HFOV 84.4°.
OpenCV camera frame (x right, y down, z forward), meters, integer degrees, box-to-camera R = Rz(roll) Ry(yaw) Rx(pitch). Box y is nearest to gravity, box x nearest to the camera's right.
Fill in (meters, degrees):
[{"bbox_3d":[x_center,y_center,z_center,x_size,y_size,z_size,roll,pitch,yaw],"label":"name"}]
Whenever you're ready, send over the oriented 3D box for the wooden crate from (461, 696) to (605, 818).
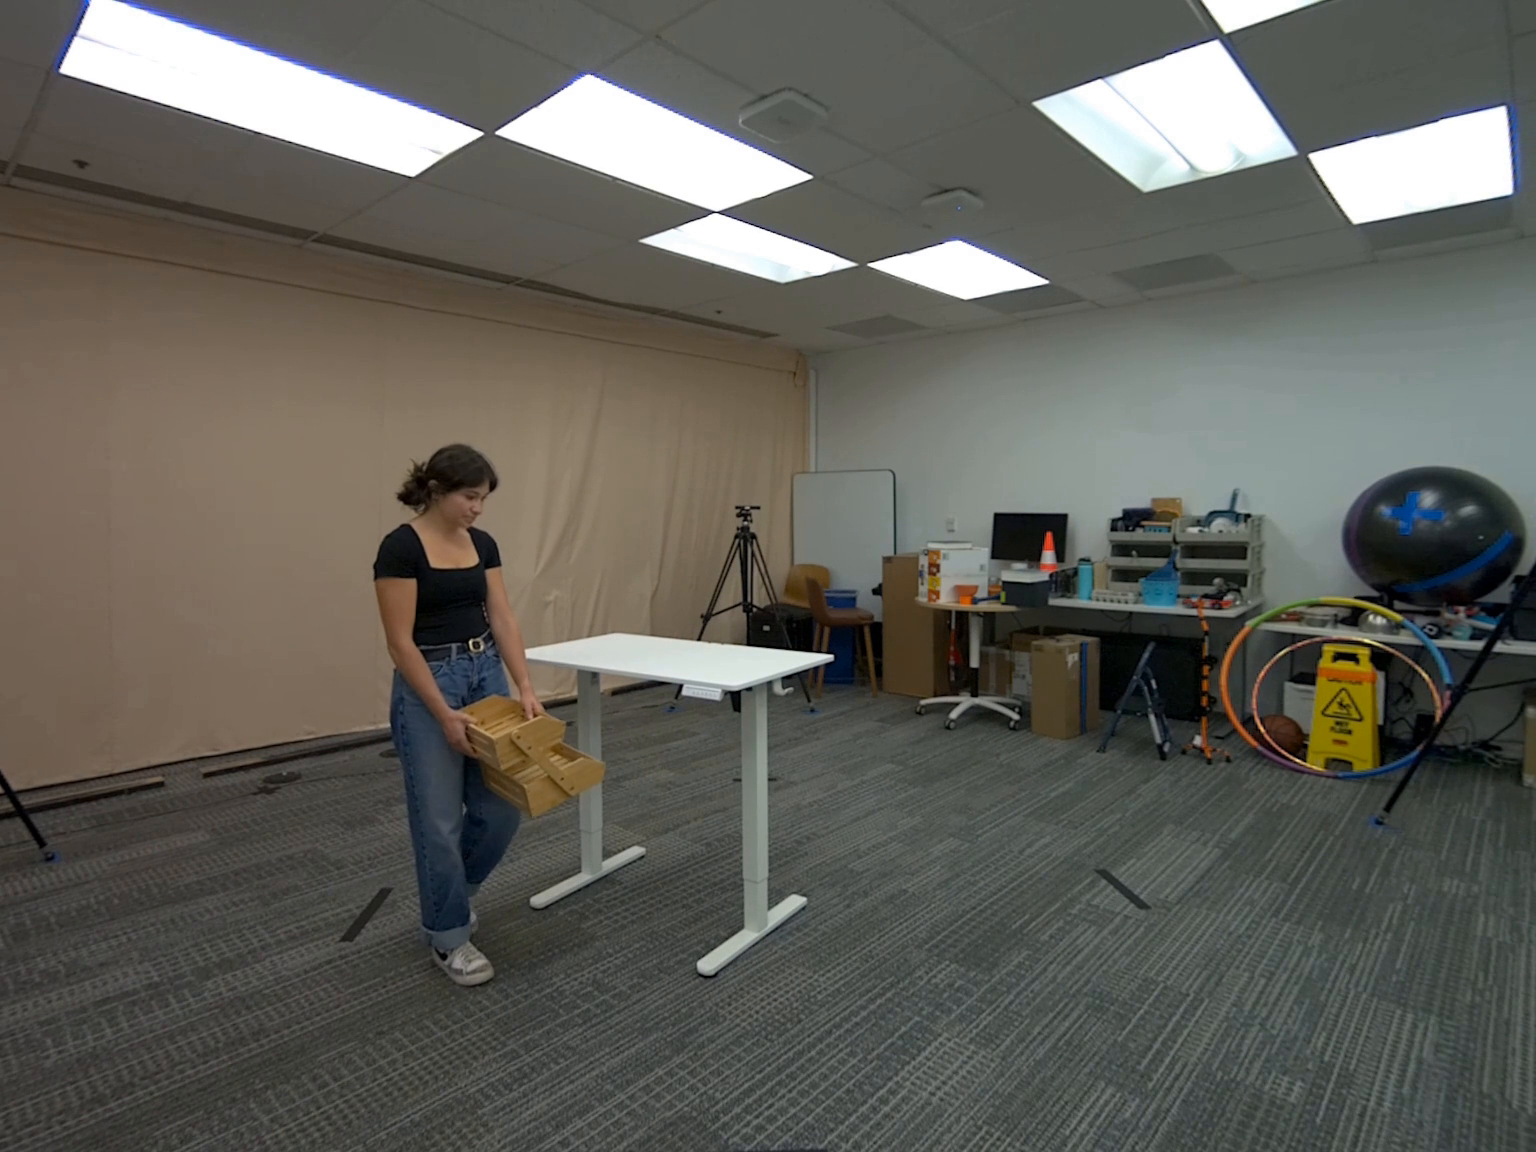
[{"bbox_3d":[-0.690,0.488,2.402,0.295,0.270,0.335,-22,19,-39],"label":"wooden crate"}]
